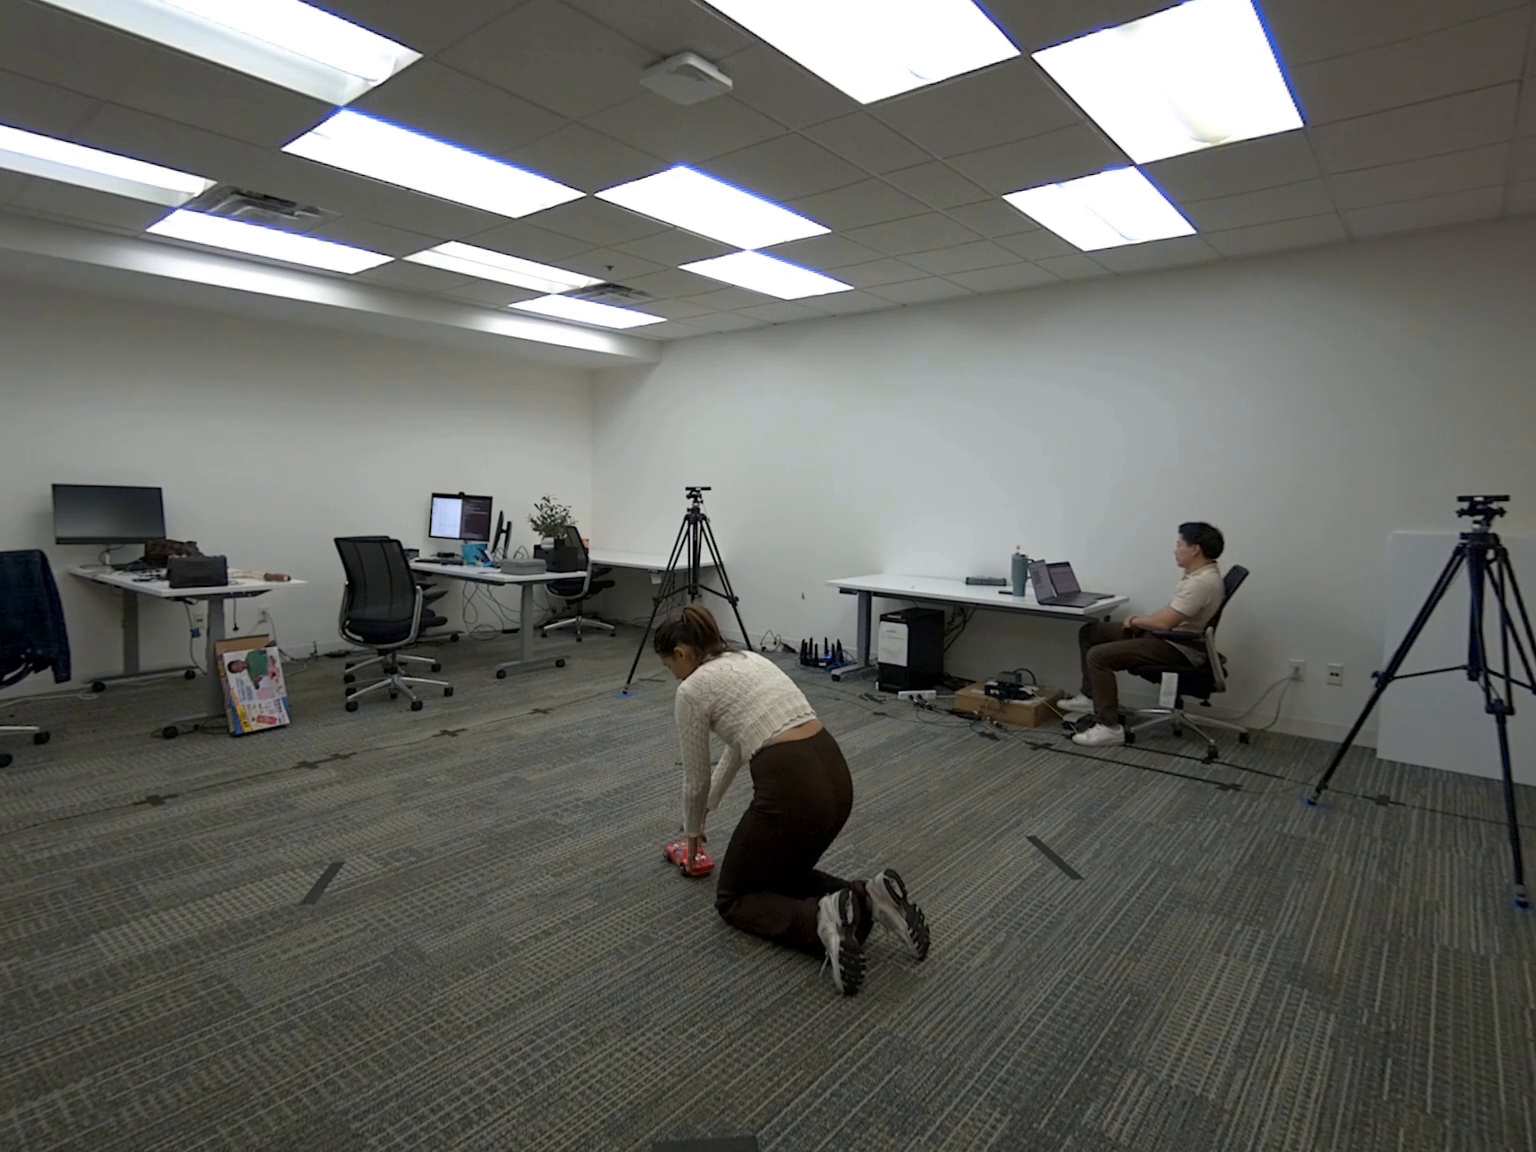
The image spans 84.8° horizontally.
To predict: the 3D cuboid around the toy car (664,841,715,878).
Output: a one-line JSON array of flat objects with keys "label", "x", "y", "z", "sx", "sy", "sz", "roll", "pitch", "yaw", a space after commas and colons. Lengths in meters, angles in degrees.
[{"label": "toy car", "x": -0.298, "y": 1.032, "z": 3.104, "sx": 0.127, "sy": 0.084, "sz": 0.259, "roll": -2, "pitch": -6, "yaw": -30}]
